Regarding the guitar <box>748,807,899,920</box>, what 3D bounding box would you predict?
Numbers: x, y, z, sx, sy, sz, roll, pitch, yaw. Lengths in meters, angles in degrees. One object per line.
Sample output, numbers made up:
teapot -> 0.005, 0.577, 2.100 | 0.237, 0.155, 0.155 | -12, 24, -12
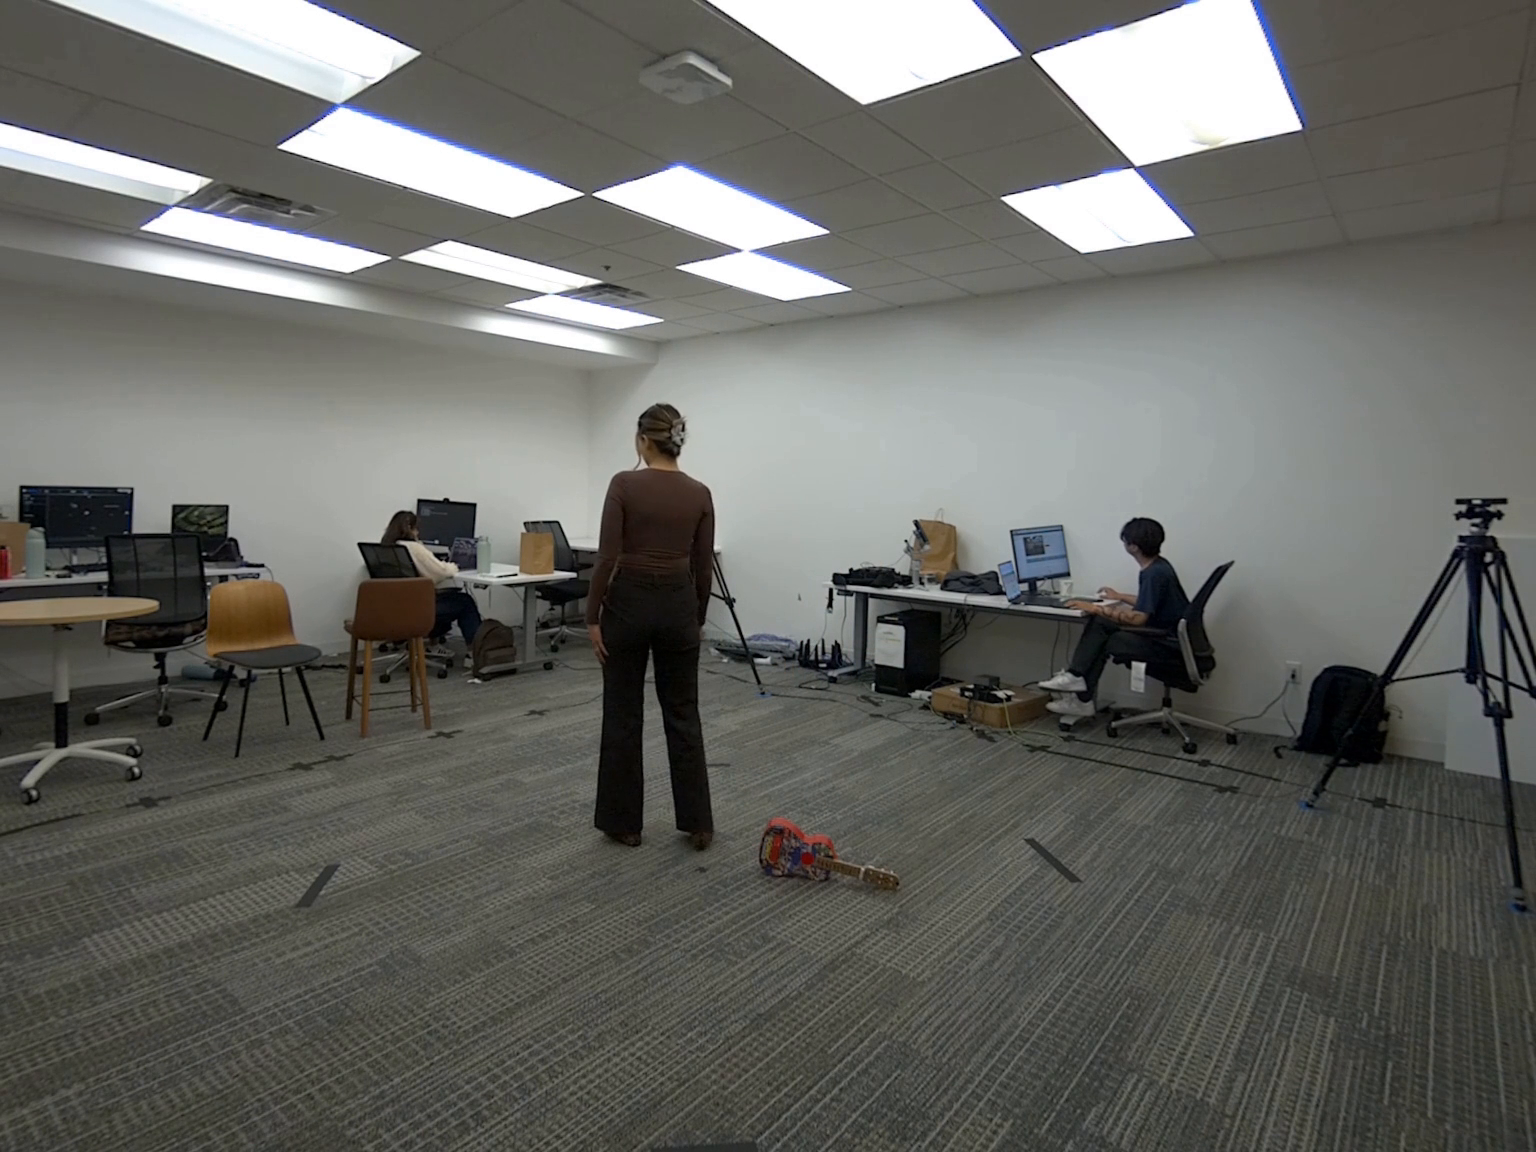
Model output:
guitar -> 0.198, 1.035, 3.043 | 0.504, 0.192, 0.070 | 20, 7, 10
